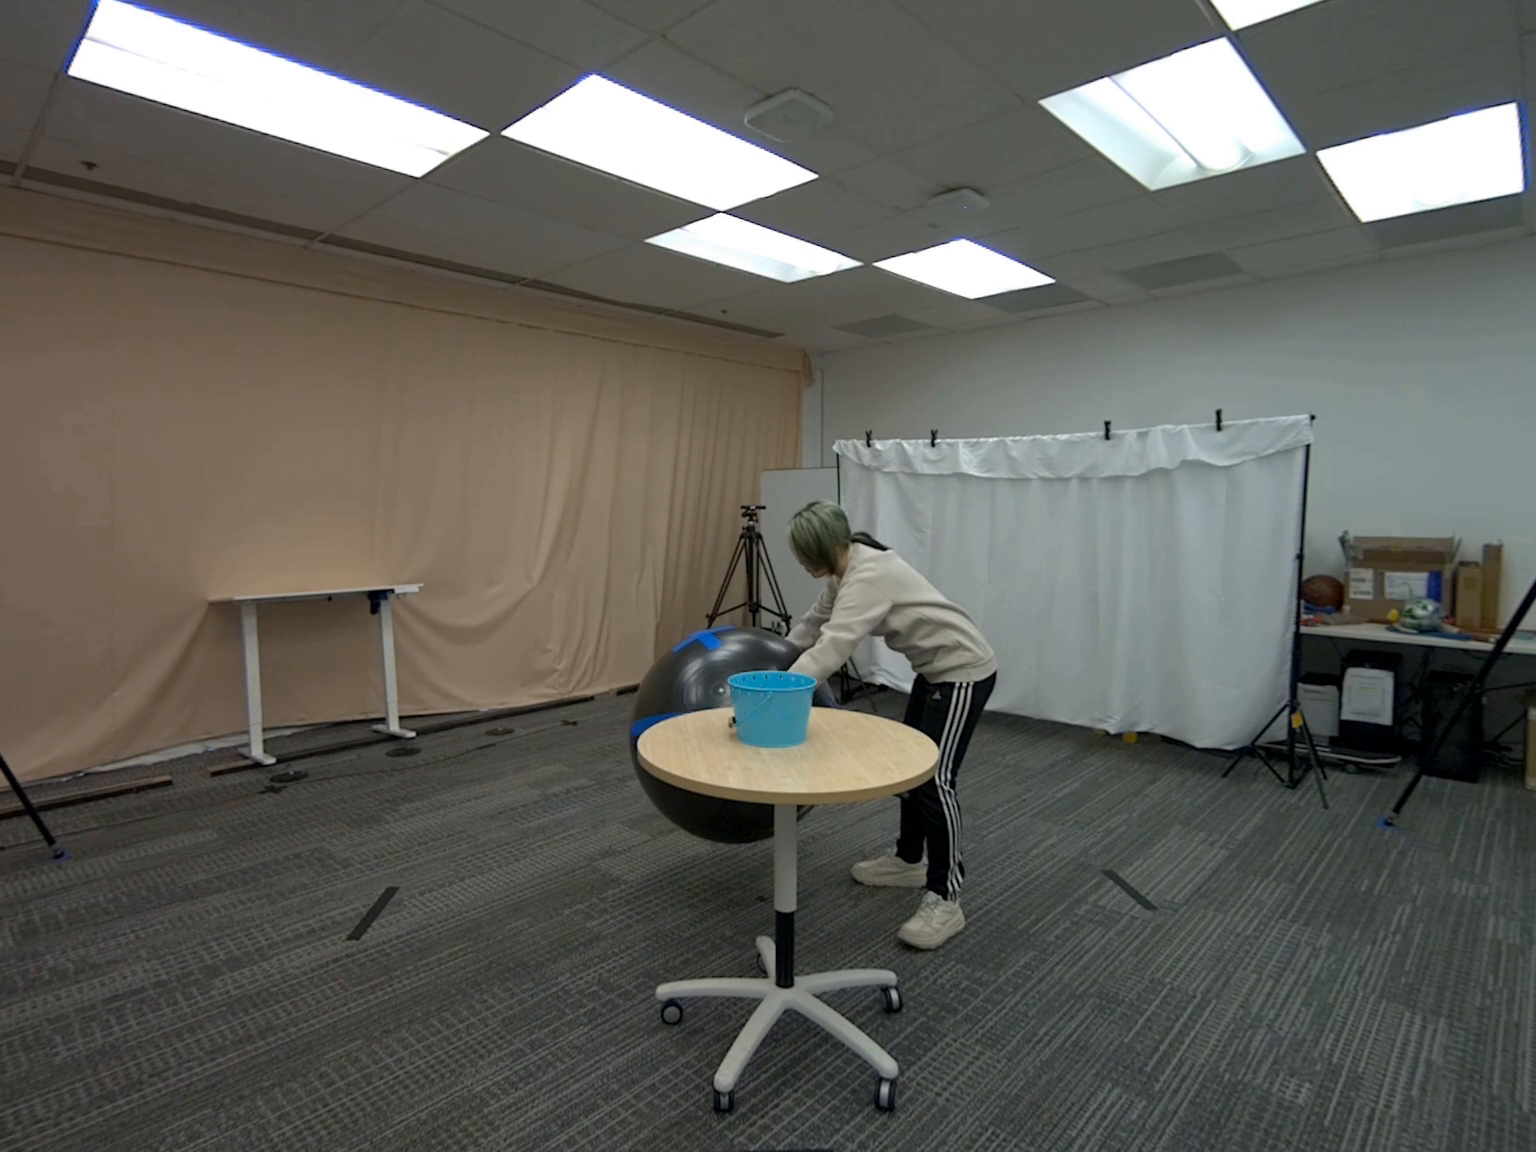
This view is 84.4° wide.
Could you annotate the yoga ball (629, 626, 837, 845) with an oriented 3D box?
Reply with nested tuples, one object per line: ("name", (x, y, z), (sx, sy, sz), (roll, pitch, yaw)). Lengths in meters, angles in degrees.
("yoga ball", (-0.122, 0.560, 3.038), (0.757, 0.756, 0.761), (0, 4, -2))
